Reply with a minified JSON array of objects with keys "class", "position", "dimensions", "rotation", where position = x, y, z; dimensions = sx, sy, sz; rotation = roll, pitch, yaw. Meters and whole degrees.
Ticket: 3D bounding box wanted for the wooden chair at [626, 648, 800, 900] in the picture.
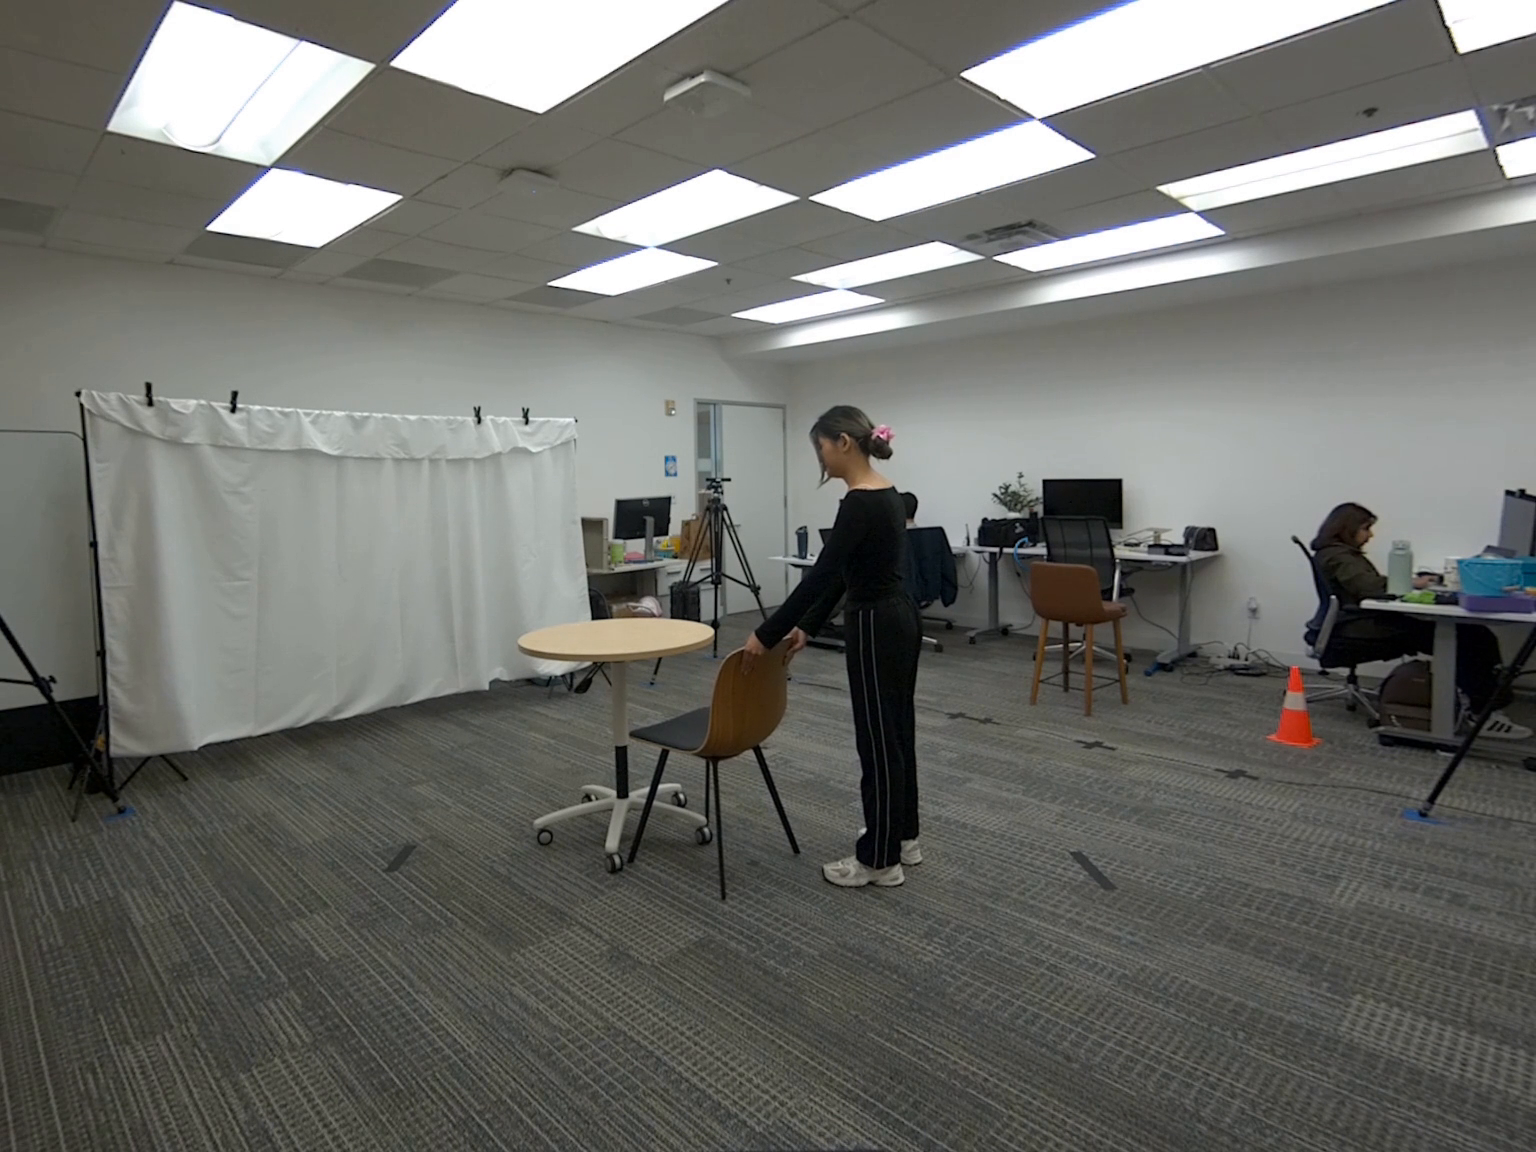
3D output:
[{"class":"wooden chair","position":[-0.202,0.611,3.112],"dimensions":[0.540,0.872,0.466],"rotation":[9,10,38]}]
